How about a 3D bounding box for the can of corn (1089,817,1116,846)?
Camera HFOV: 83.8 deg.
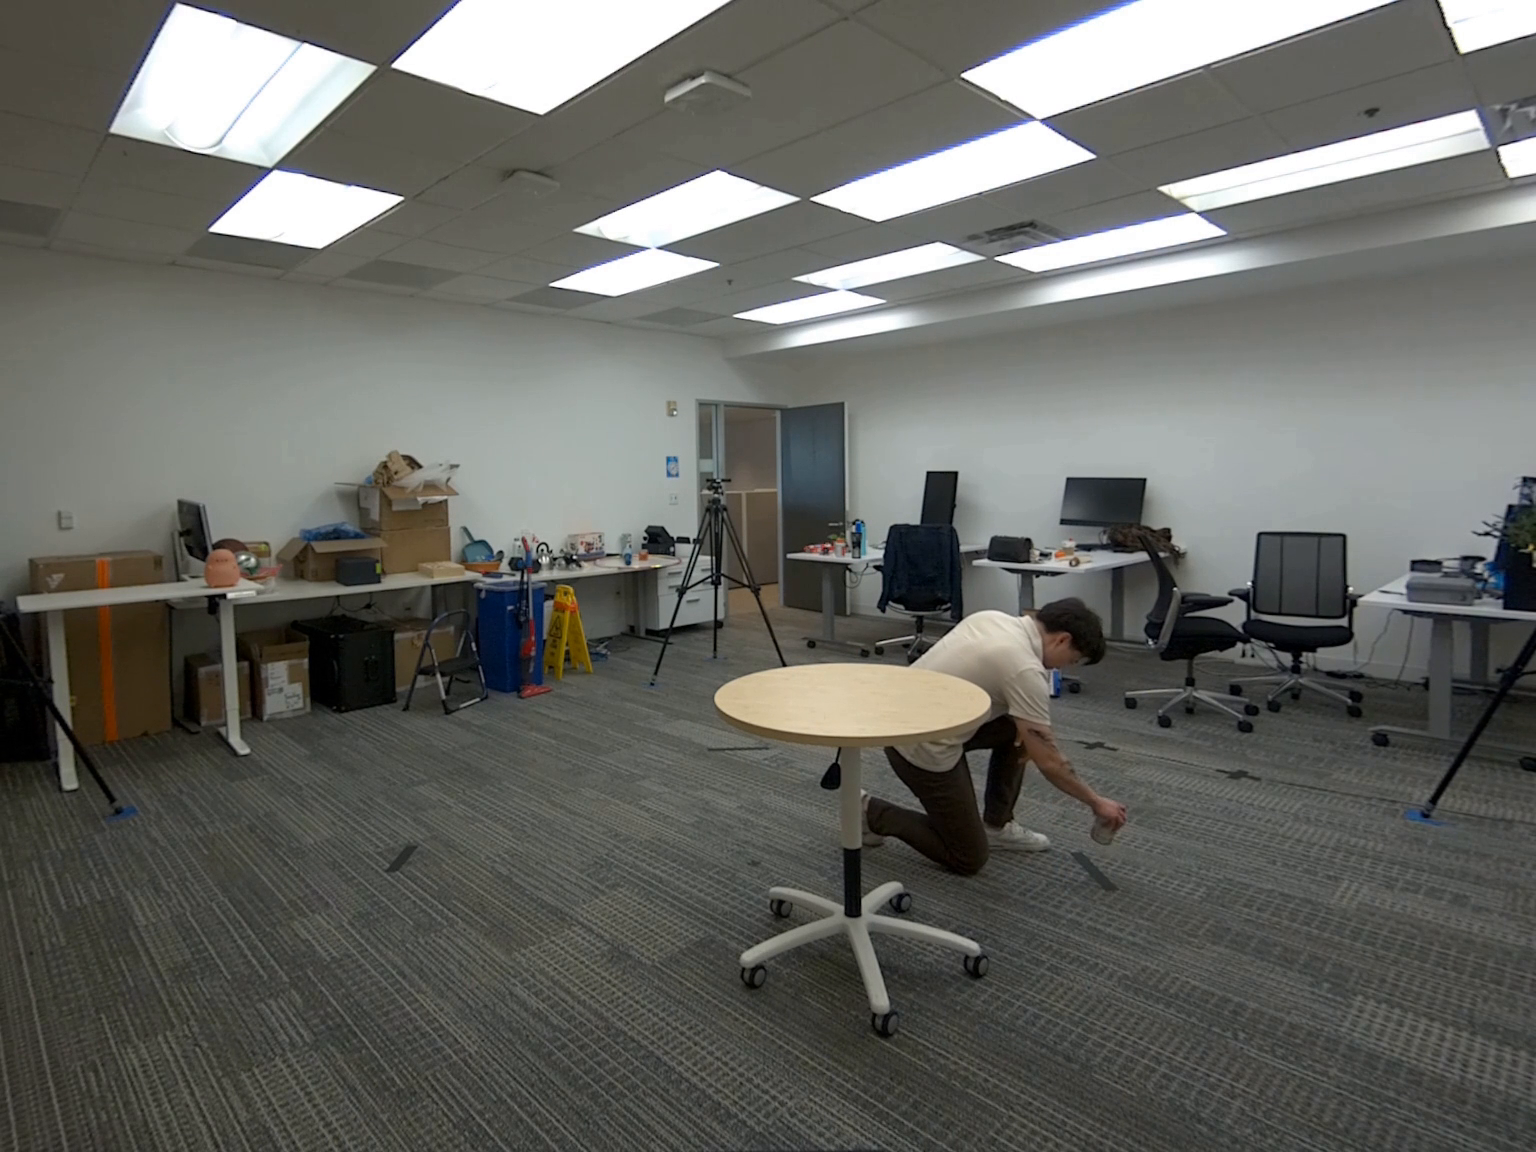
[{"bbox_3d":[1.142,0.834,2.910,0.074,0.109,0.075,5,21,-4],"label":"can of corn"}]
